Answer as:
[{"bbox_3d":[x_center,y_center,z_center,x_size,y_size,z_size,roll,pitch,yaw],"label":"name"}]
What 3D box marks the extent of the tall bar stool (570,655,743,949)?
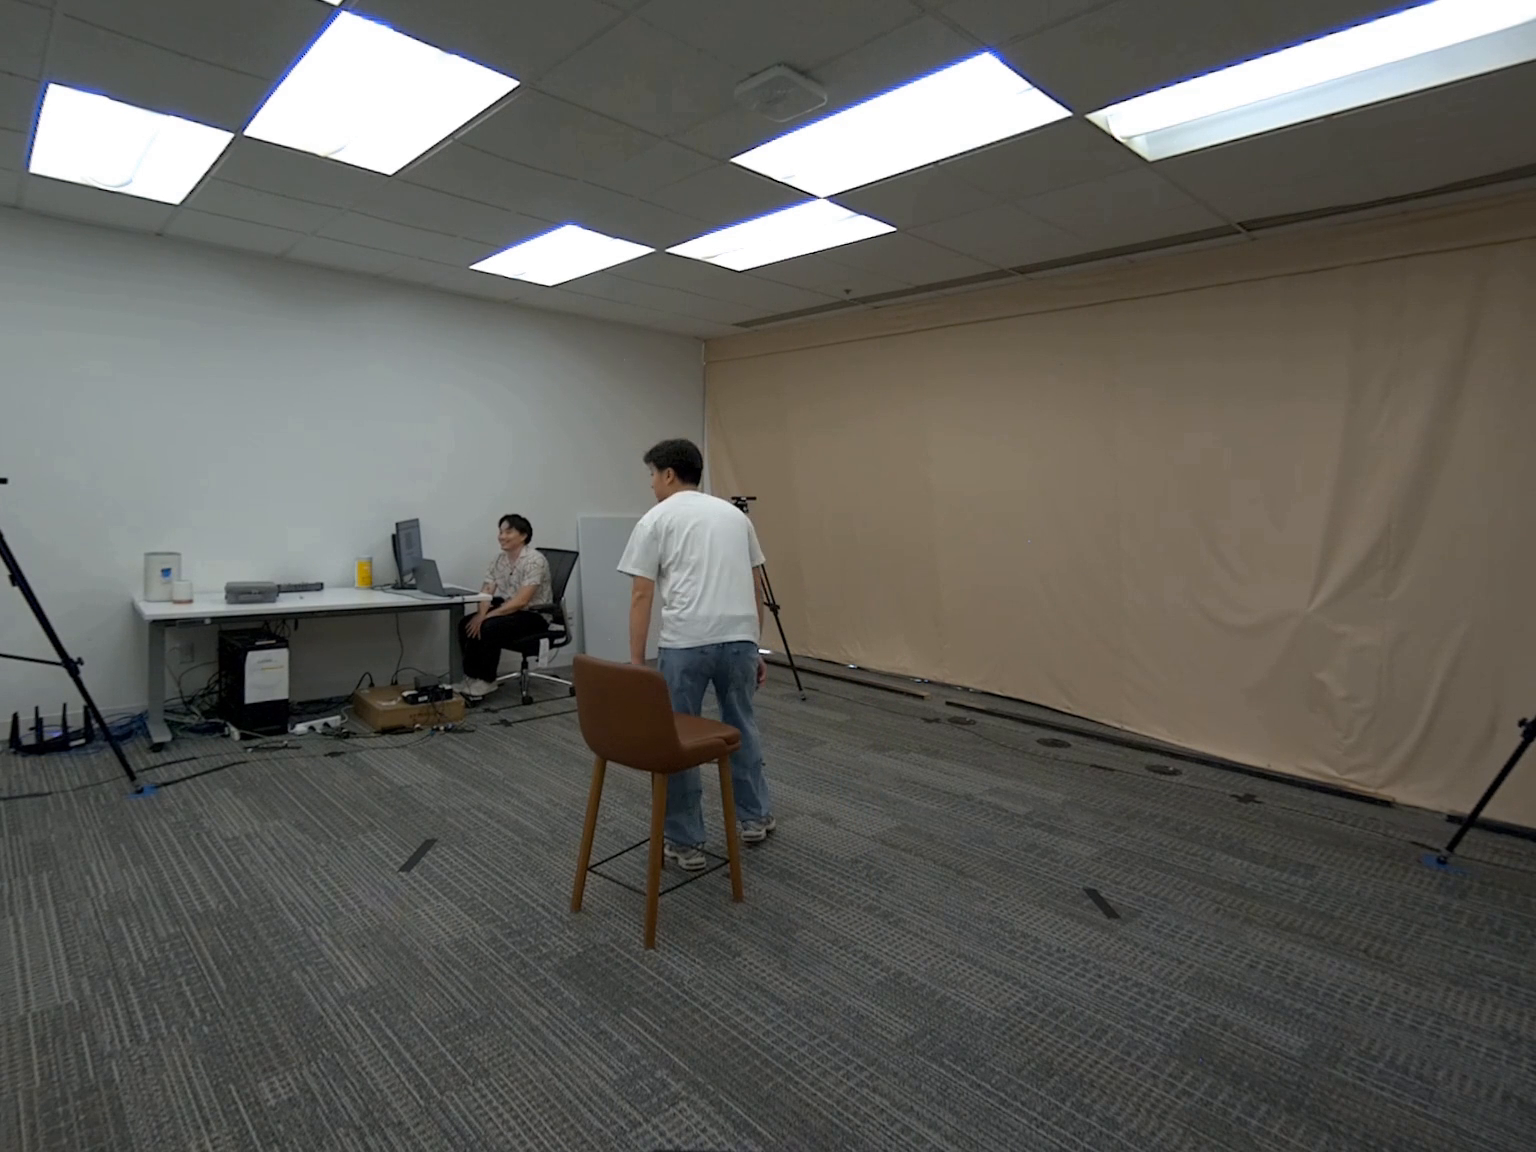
[{"bbox_3d":[-0.385,0.692,2.841,0.468,0.887,0.458,4,6,39],"label":"tall bar stool"}]
